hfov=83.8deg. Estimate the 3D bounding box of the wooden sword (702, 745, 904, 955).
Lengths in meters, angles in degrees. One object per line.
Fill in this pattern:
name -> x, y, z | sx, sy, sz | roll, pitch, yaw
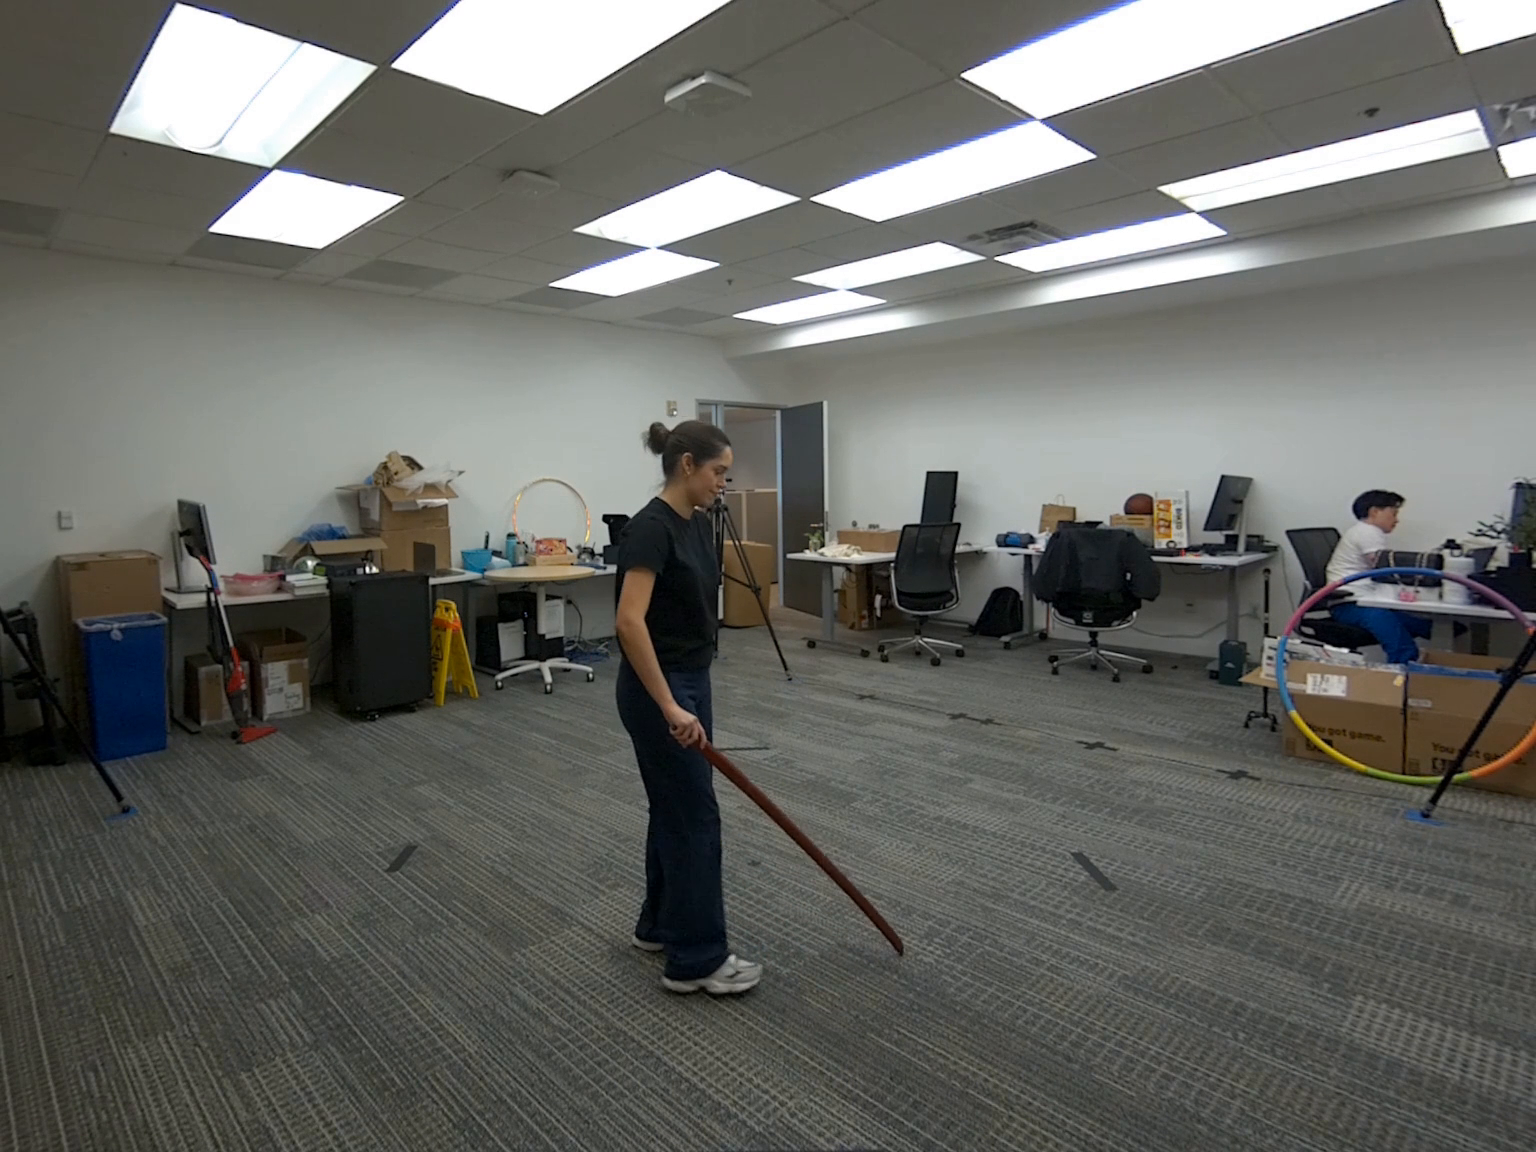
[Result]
wooden sword -> 0.084, 0.726, 2.365 | 0.051, 1.002, 0.024 | -46, 17, -13
